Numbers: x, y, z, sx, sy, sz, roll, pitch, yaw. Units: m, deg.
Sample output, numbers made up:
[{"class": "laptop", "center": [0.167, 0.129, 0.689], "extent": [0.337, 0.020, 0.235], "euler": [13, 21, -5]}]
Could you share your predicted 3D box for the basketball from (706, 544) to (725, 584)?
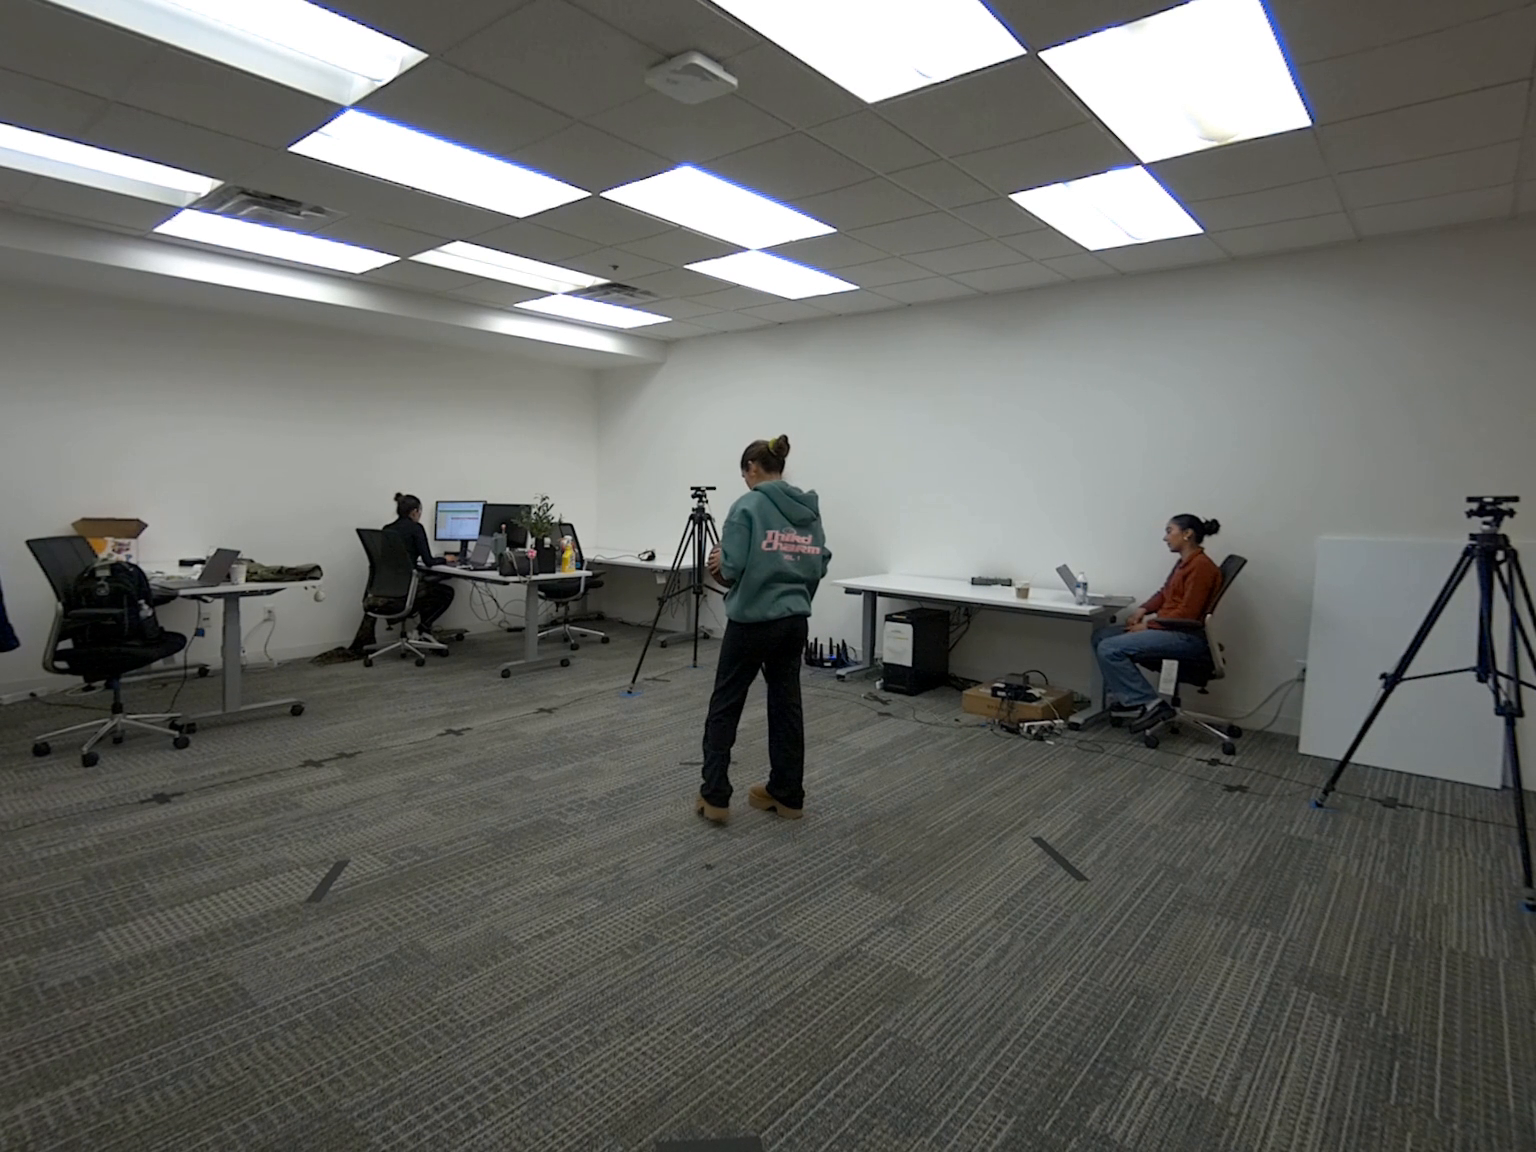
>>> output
[{"class": "basketball", "center": [-0.160, -0.063, 3.801], "extent": [0.235, 0.235, 0.237], "euler": [1, 4, -2]}]
